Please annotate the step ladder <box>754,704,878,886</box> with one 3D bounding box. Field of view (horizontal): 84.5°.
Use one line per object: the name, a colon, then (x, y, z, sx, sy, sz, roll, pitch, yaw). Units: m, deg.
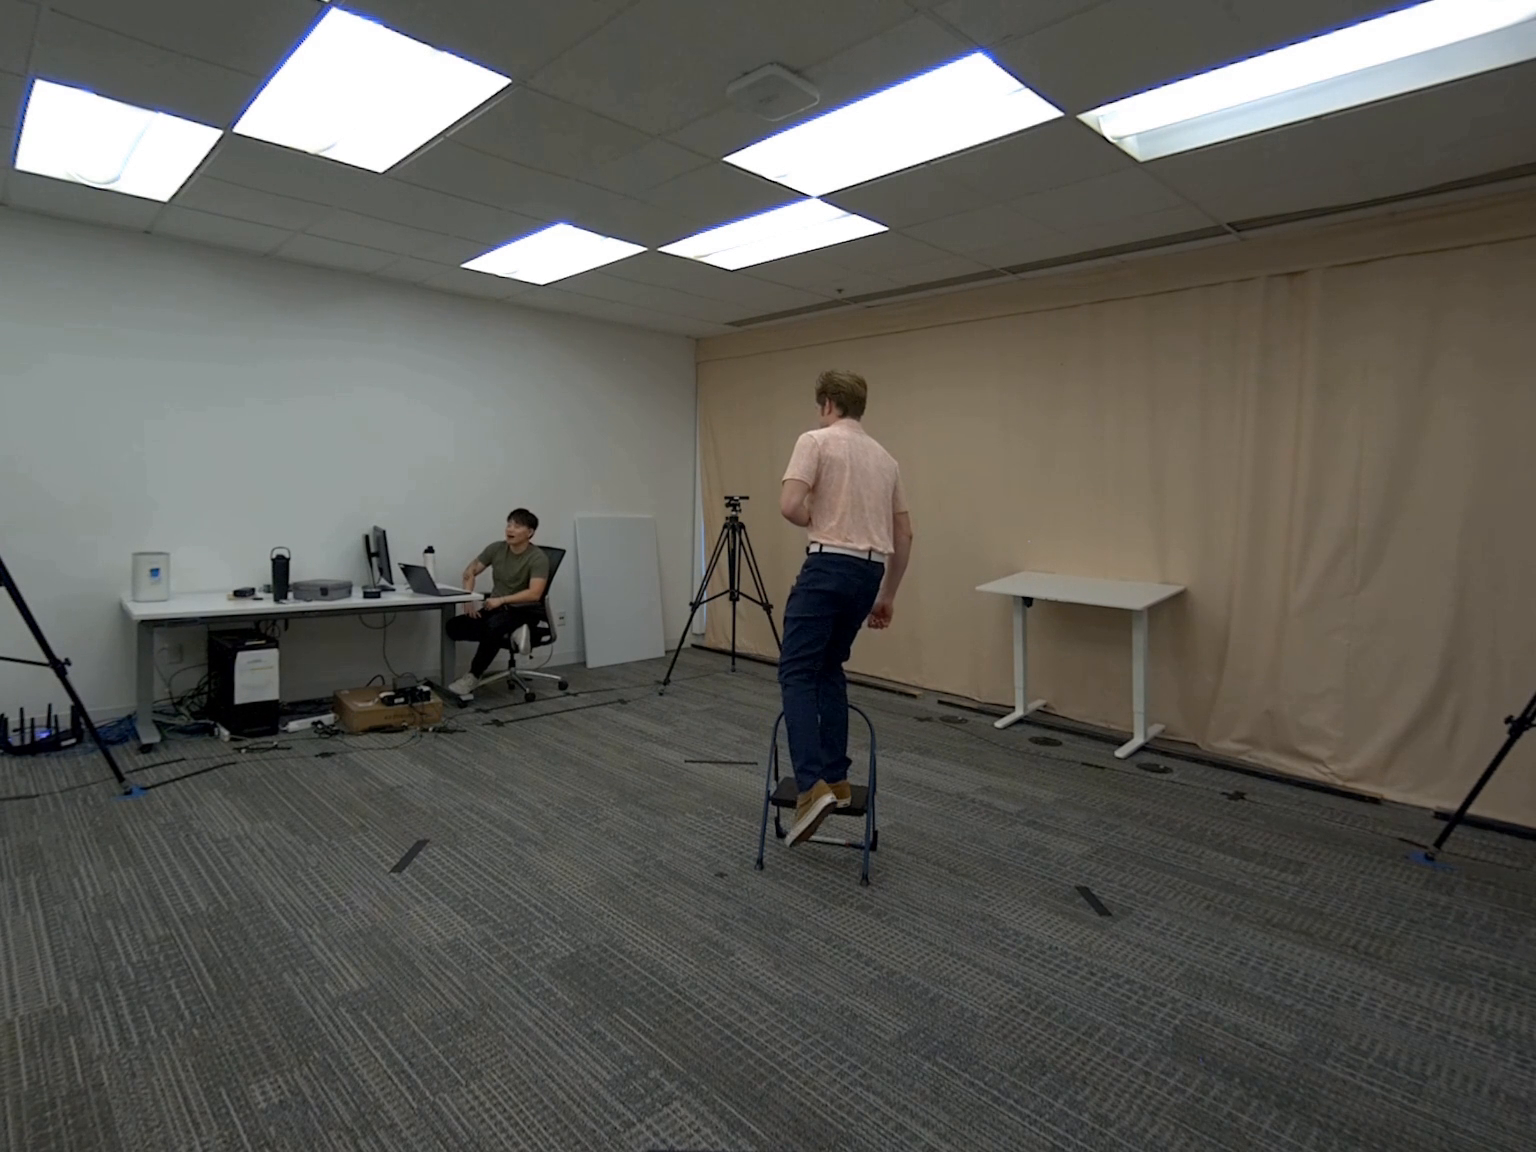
step ladder: (0.201, 0.800, 3.254, 0.436, 0.605, 0.345, 2, 3, 15)
